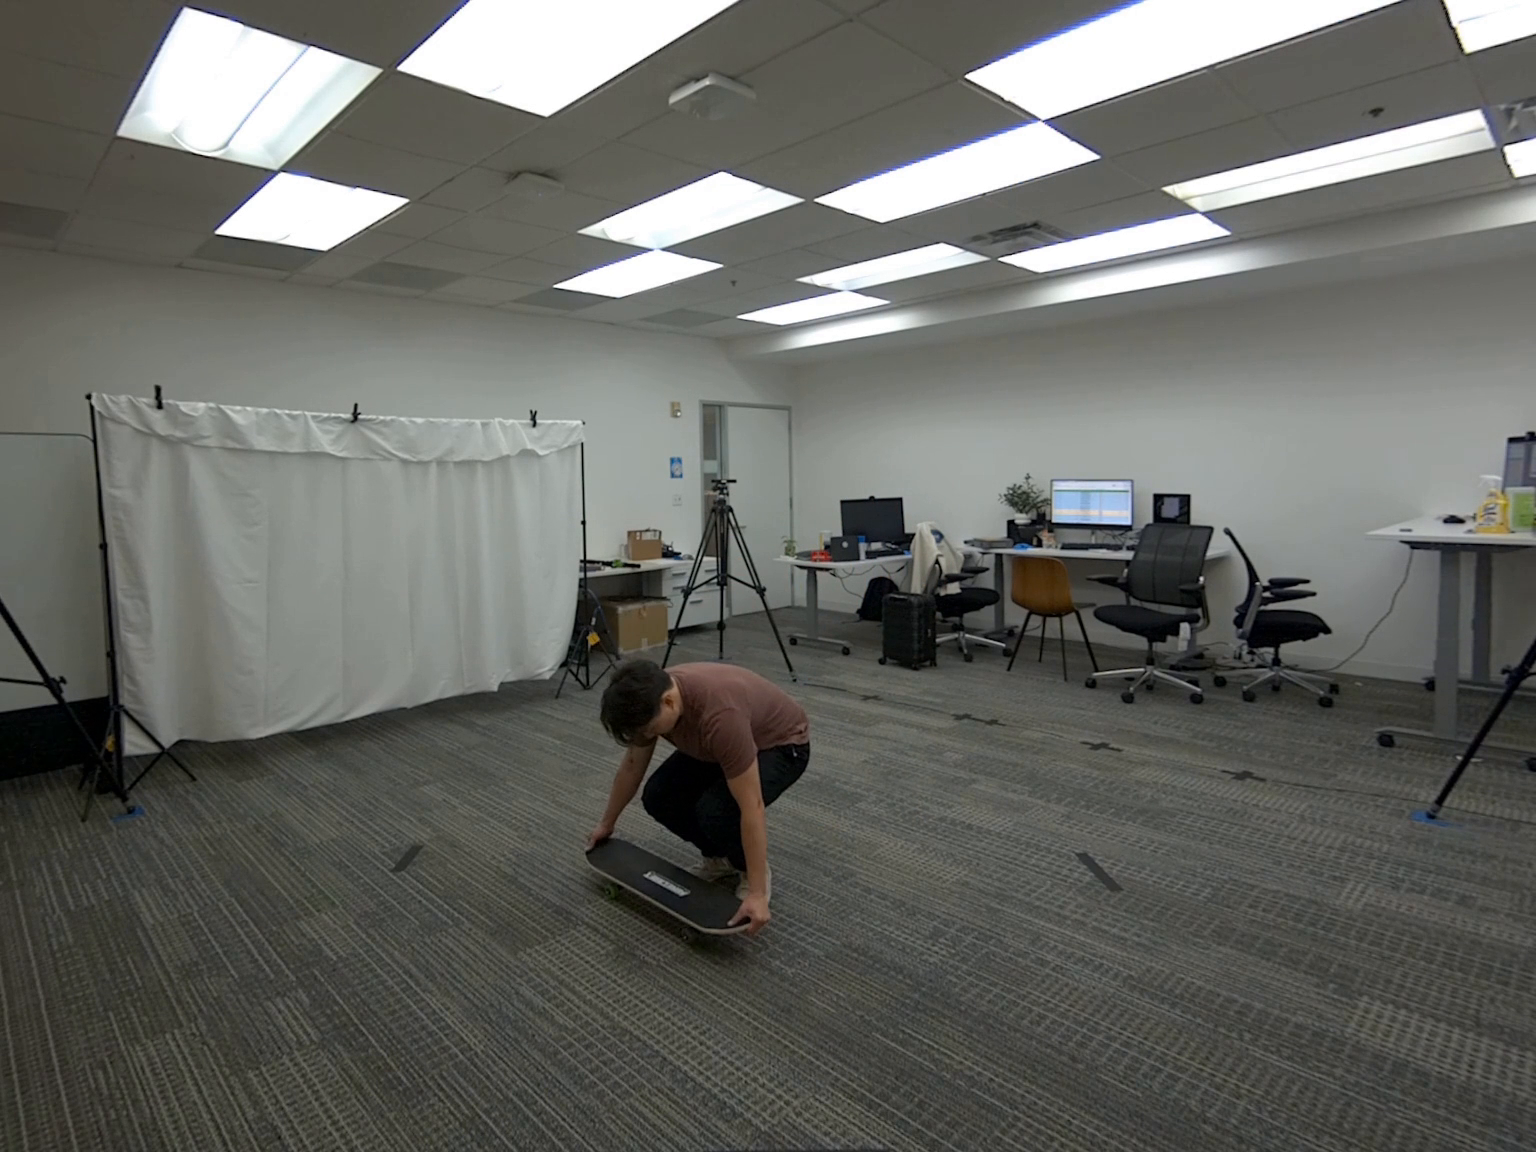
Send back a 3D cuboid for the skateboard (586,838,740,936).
[{"bbox_3d":[-0.333,1.027,2.758,0.189,0.109,0.810,-11,12,-43],"label":"skateboard"}]
